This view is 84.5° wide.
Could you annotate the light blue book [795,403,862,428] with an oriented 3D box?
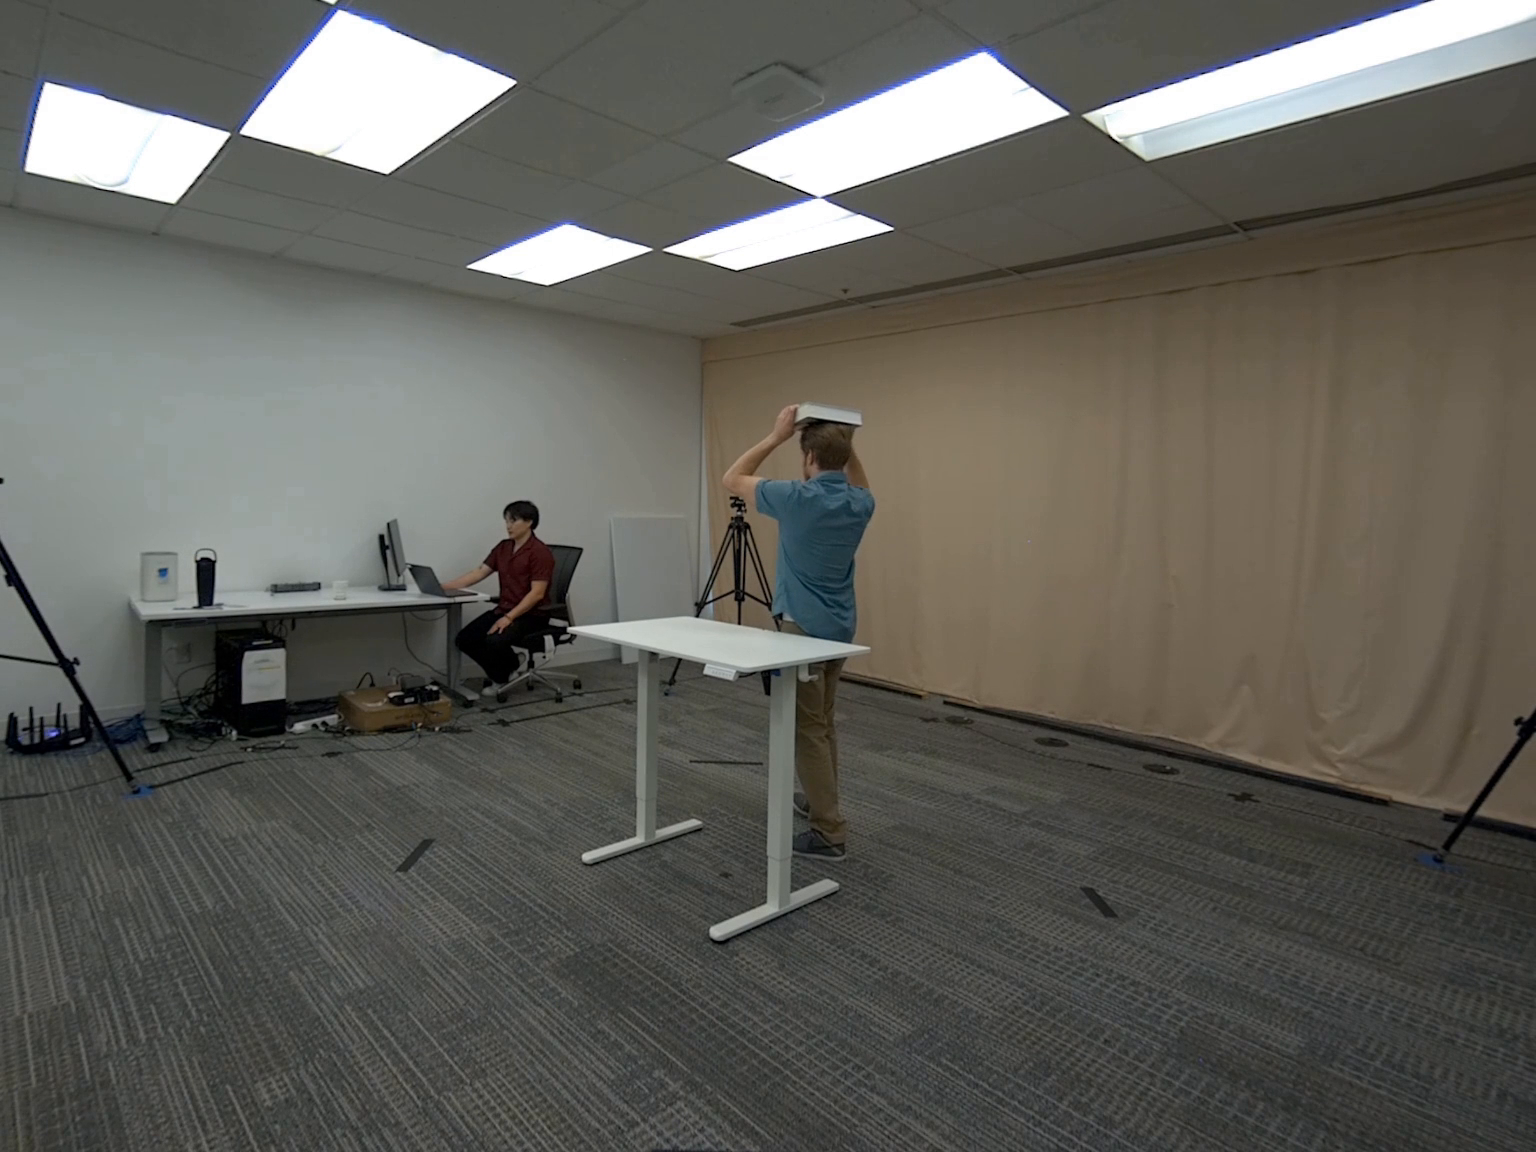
[{"bbox_3d":[0.207,-0.619,3.342,0.256,0.059,0.194,4,-6,-28],"label":"light blue book"}]
